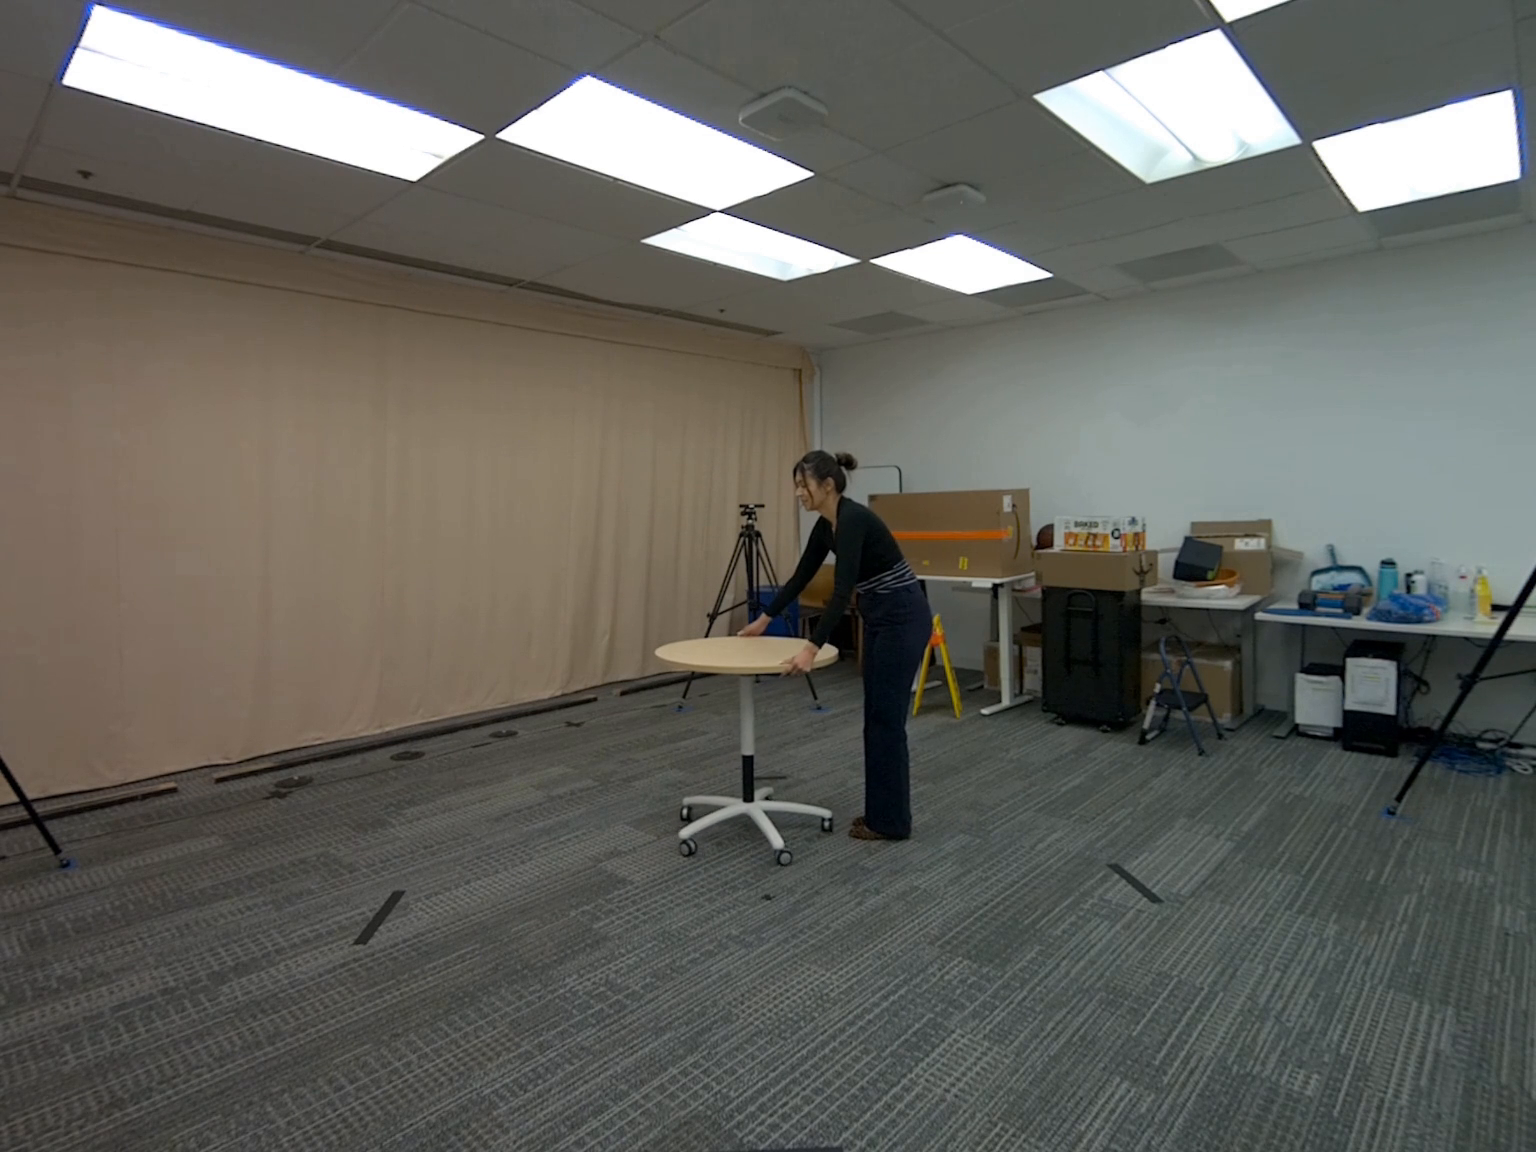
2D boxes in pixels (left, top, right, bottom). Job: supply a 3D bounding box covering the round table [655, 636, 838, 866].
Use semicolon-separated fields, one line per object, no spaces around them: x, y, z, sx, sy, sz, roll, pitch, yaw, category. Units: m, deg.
-0.087;0.705;3.551;0.763;0.792;0.766;0;3;-2;round table
